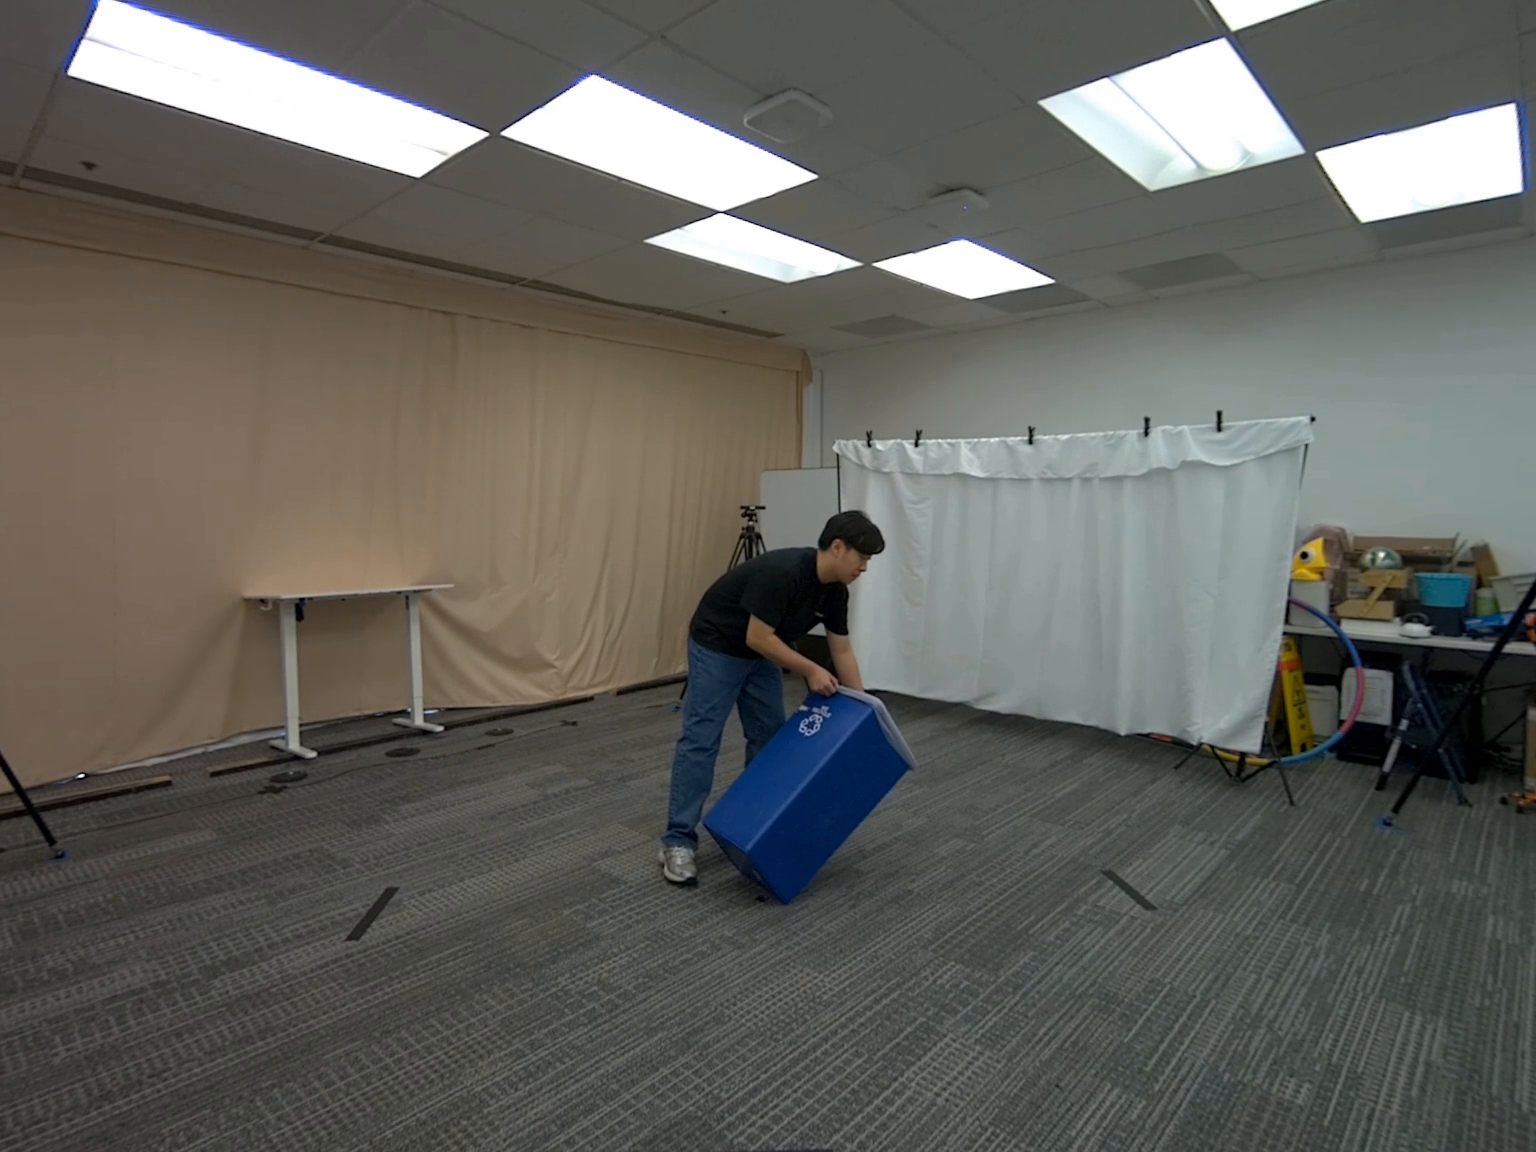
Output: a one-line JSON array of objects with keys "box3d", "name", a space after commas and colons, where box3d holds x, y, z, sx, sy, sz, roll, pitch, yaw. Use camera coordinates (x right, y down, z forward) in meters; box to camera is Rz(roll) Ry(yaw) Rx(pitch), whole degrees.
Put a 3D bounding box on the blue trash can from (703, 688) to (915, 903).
[{"box3d": [0.157, 0.793, 3.124, 0.708, 0.369, 0.386, -44, 27, -22], "name": "blue trash can"}]
